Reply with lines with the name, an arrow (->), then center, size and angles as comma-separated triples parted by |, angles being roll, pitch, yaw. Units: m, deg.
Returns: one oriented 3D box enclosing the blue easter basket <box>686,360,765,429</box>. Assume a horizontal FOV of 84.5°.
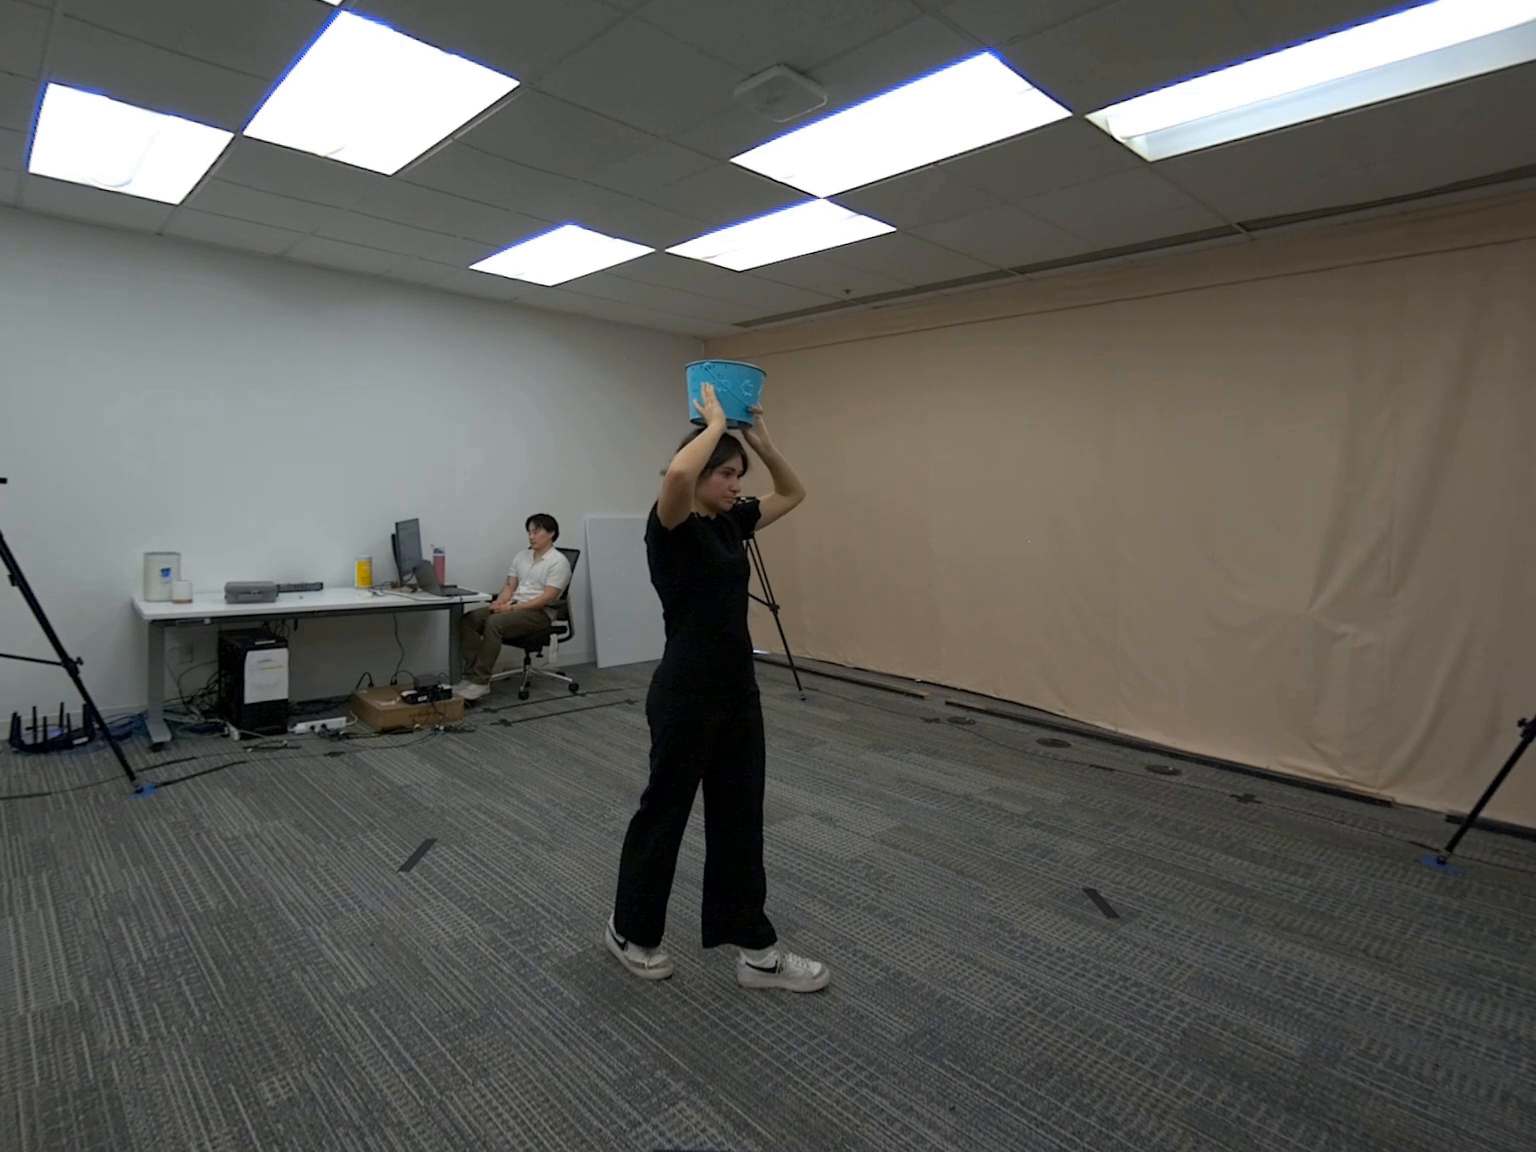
blue easter basket -> -0.126, -0.503, 2.369 | 0.243, 0.156, 0.244 | 6, 1, -1
